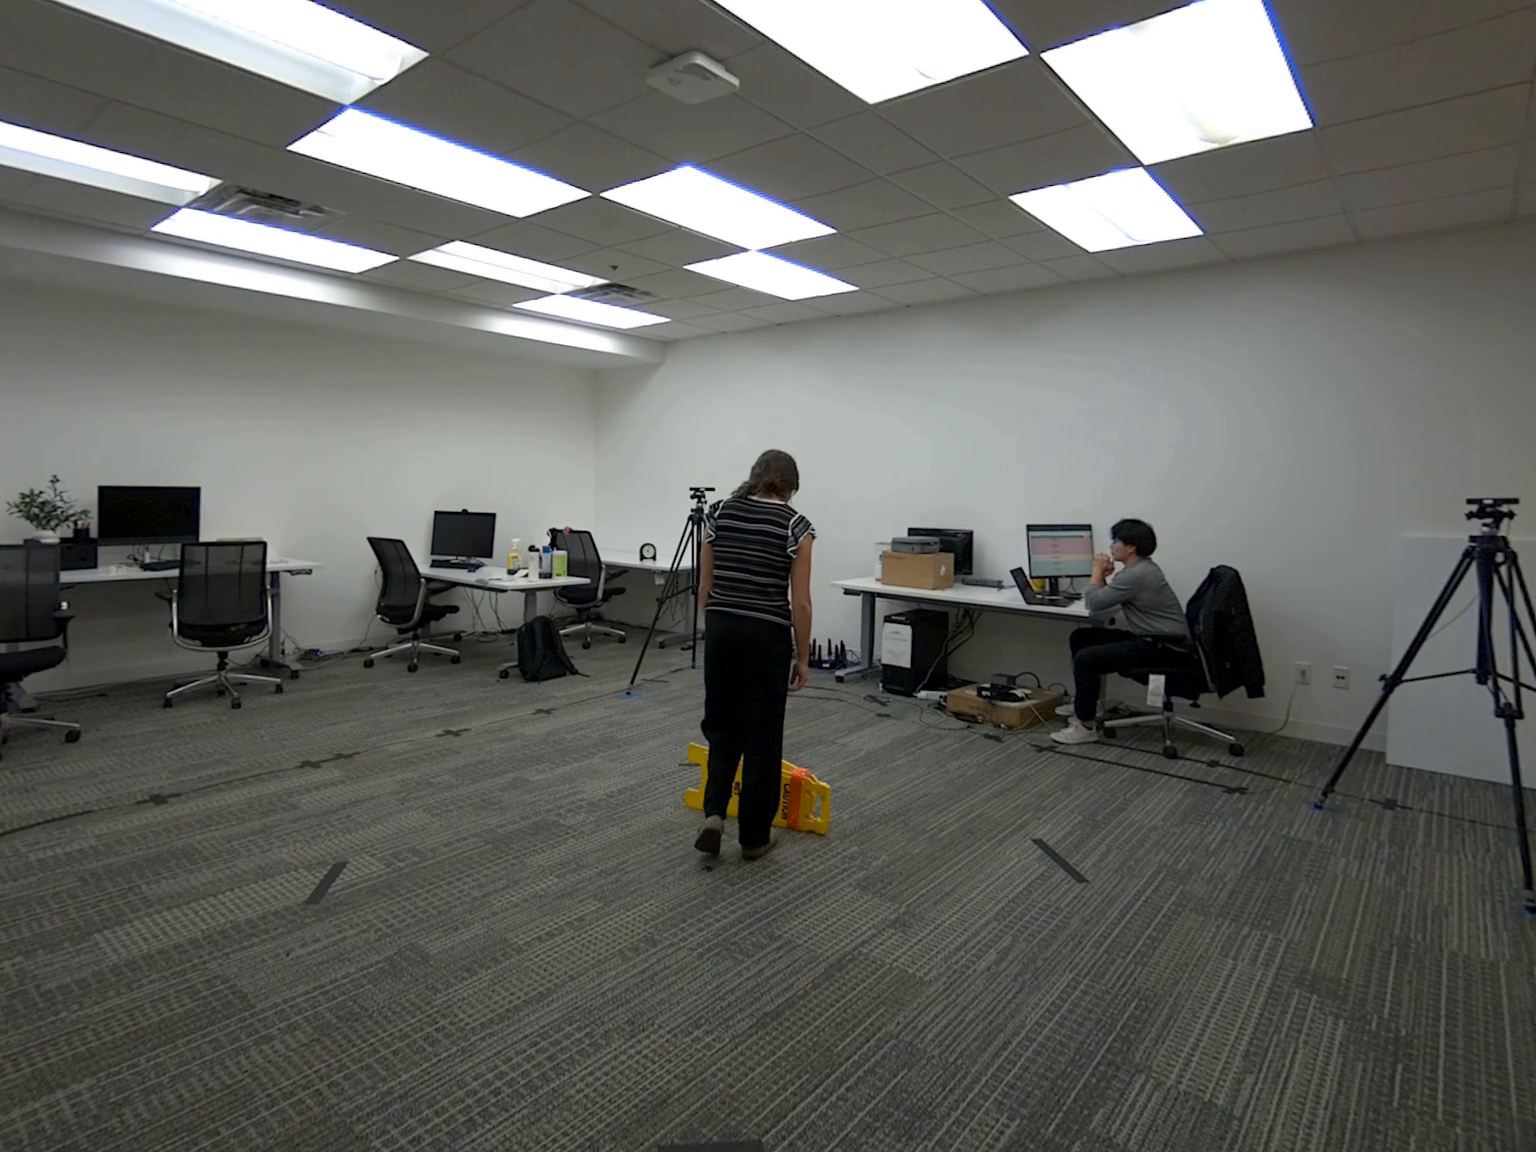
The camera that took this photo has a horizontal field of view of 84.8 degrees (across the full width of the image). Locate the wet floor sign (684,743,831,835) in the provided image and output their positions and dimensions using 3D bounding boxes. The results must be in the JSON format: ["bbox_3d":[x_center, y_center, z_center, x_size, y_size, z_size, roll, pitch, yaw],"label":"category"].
[{"bbox_3d":[-0.029,0.895,3.621,0.668,0.281,0.281,8,6,36],"label":"wet floor sign"}]
